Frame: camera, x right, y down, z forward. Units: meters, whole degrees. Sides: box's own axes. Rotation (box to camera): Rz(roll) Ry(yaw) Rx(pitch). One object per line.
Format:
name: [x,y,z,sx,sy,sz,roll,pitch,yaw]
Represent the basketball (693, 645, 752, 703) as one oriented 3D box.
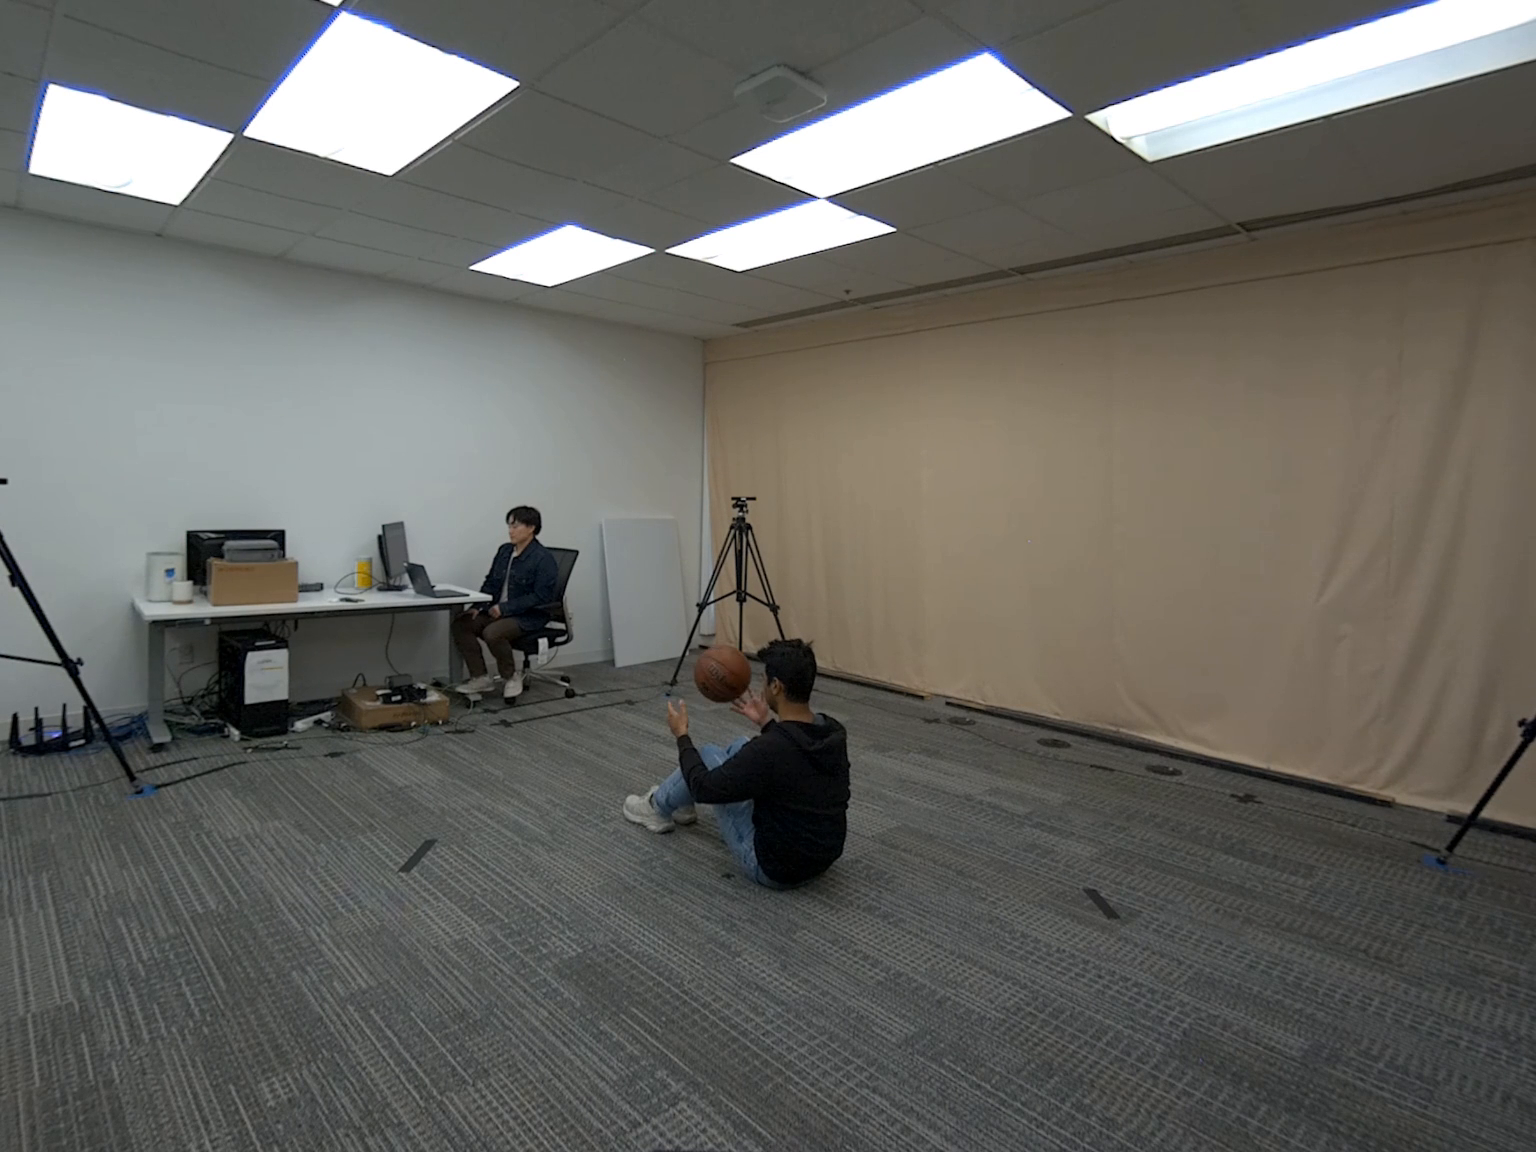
basketball: [-0.208,0.430,3.492,0.236,0.235,0.237,1,4,-1]
